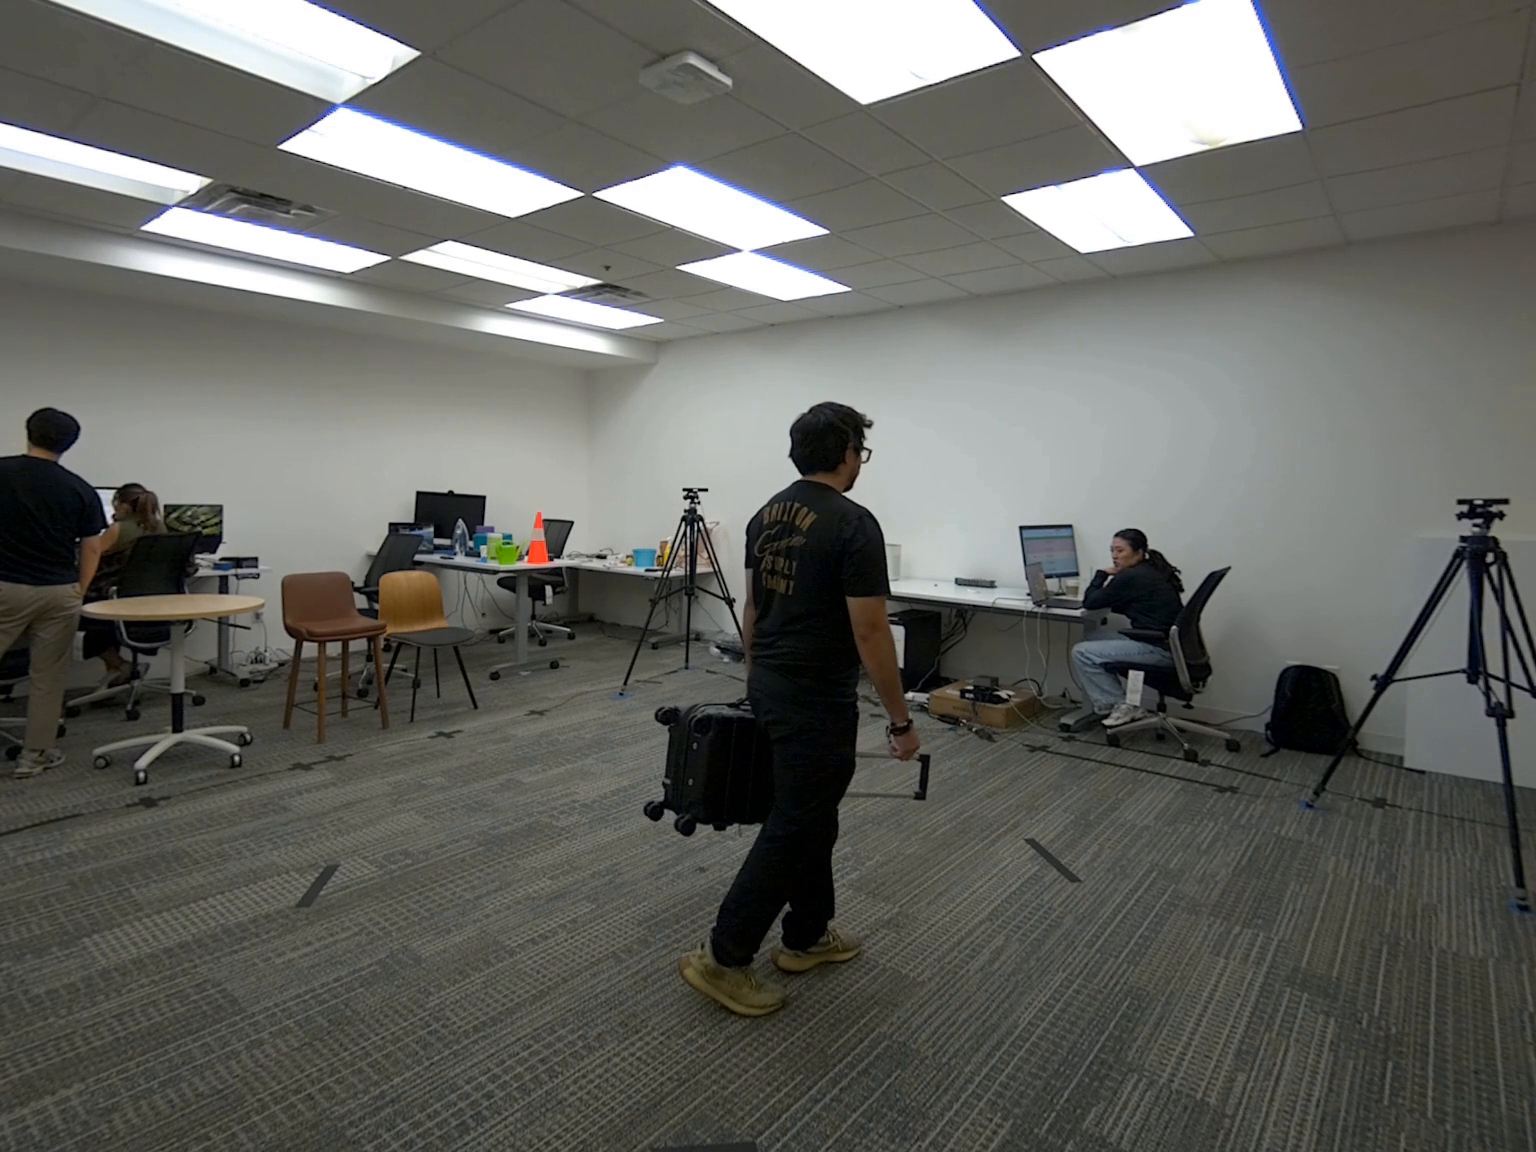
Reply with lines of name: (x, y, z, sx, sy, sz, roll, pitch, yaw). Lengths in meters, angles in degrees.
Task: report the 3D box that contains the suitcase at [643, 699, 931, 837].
suitcase: (0.084, 0.624, 2.821, 0.947, 0.386, 0.264, 10, -8, -33)
